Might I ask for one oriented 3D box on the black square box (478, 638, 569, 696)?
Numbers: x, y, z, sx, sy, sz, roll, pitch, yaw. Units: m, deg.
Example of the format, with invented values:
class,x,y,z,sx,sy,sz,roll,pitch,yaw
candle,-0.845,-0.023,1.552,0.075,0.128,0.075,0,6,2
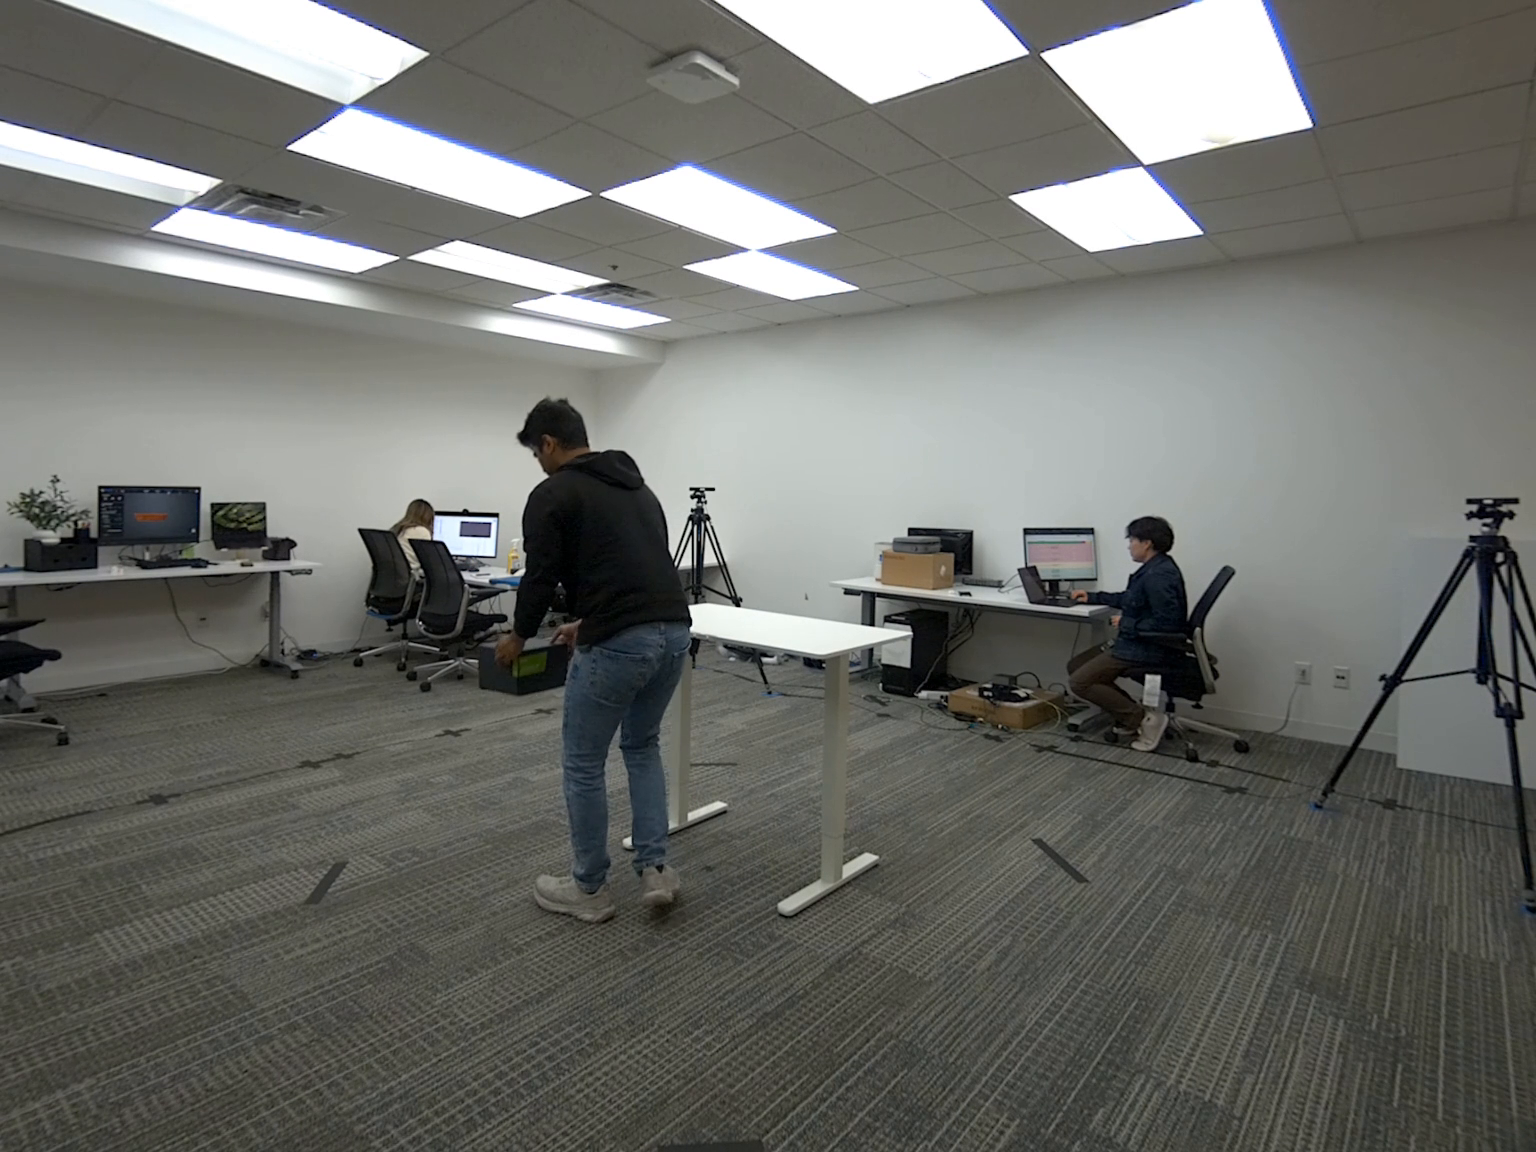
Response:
class,x,y,z,sx,sy,sz,roll,pitch,yaw
black square box,-0.873,0.322,3.018,0.224,0.155,0.221,5,6,35
